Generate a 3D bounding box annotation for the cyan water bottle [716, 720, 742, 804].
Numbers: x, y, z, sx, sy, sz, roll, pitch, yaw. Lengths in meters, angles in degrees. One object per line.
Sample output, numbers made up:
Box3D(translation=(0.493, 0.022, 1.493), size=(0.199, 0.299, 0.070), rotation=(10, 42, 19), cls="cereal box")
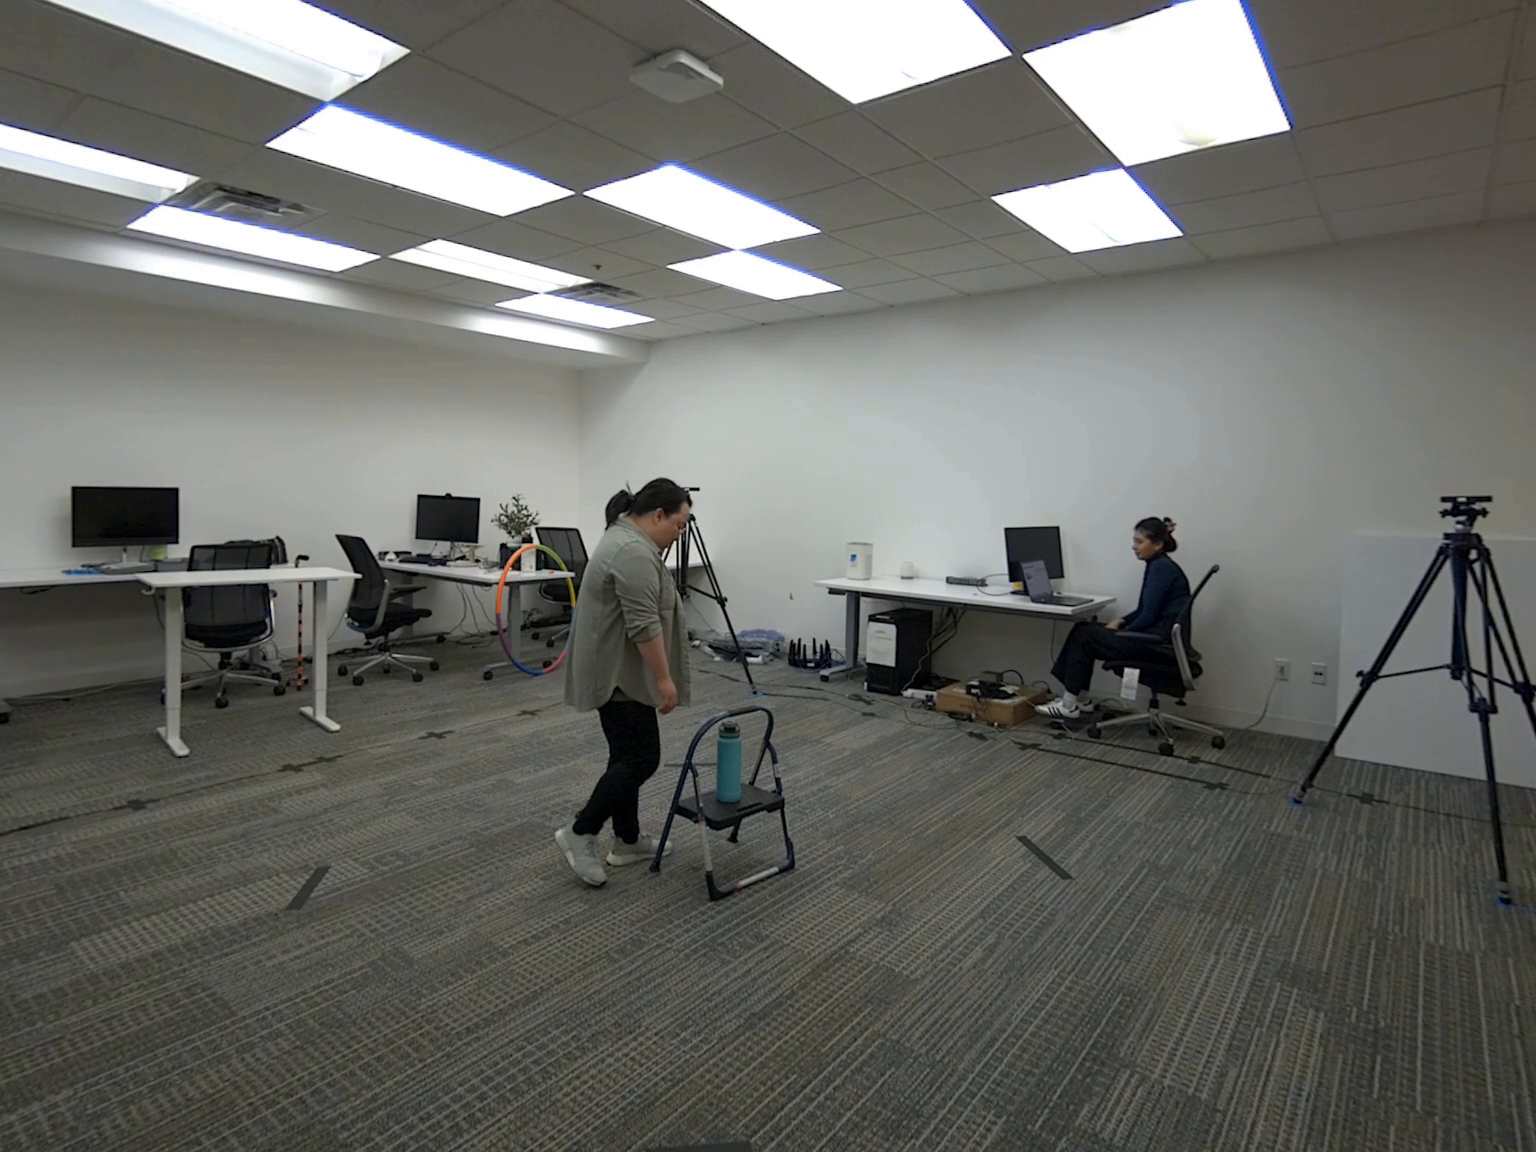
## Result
Box3D(translation=(-0.152, 0.670, 3.093), size=(0.092, 0.283, 0.092), rotation=(-1, 1, -2), cls="cyan water bottle")
